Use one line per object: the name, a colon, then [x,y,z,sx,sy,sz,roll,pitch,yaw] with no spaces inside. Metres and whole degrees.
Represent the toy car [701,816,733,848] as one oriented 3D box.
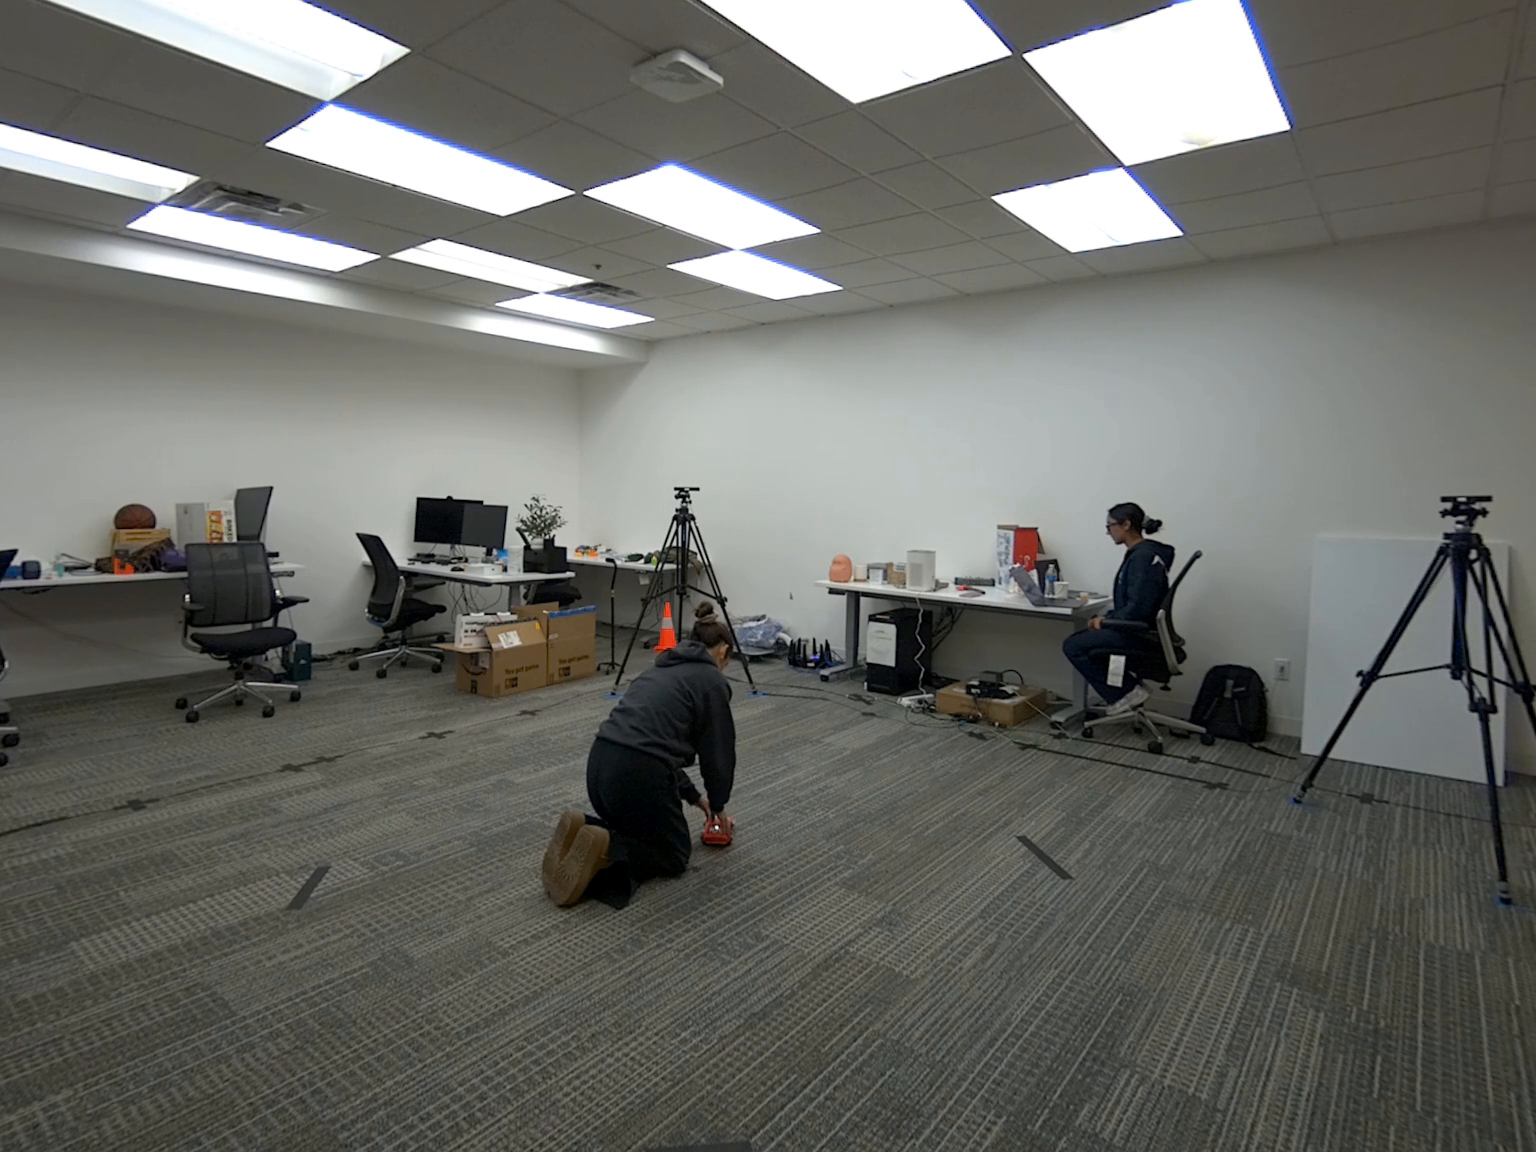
toy car: [-0.211,1.007,3.379,0.131,0.084,0.251,0,-6,3]
